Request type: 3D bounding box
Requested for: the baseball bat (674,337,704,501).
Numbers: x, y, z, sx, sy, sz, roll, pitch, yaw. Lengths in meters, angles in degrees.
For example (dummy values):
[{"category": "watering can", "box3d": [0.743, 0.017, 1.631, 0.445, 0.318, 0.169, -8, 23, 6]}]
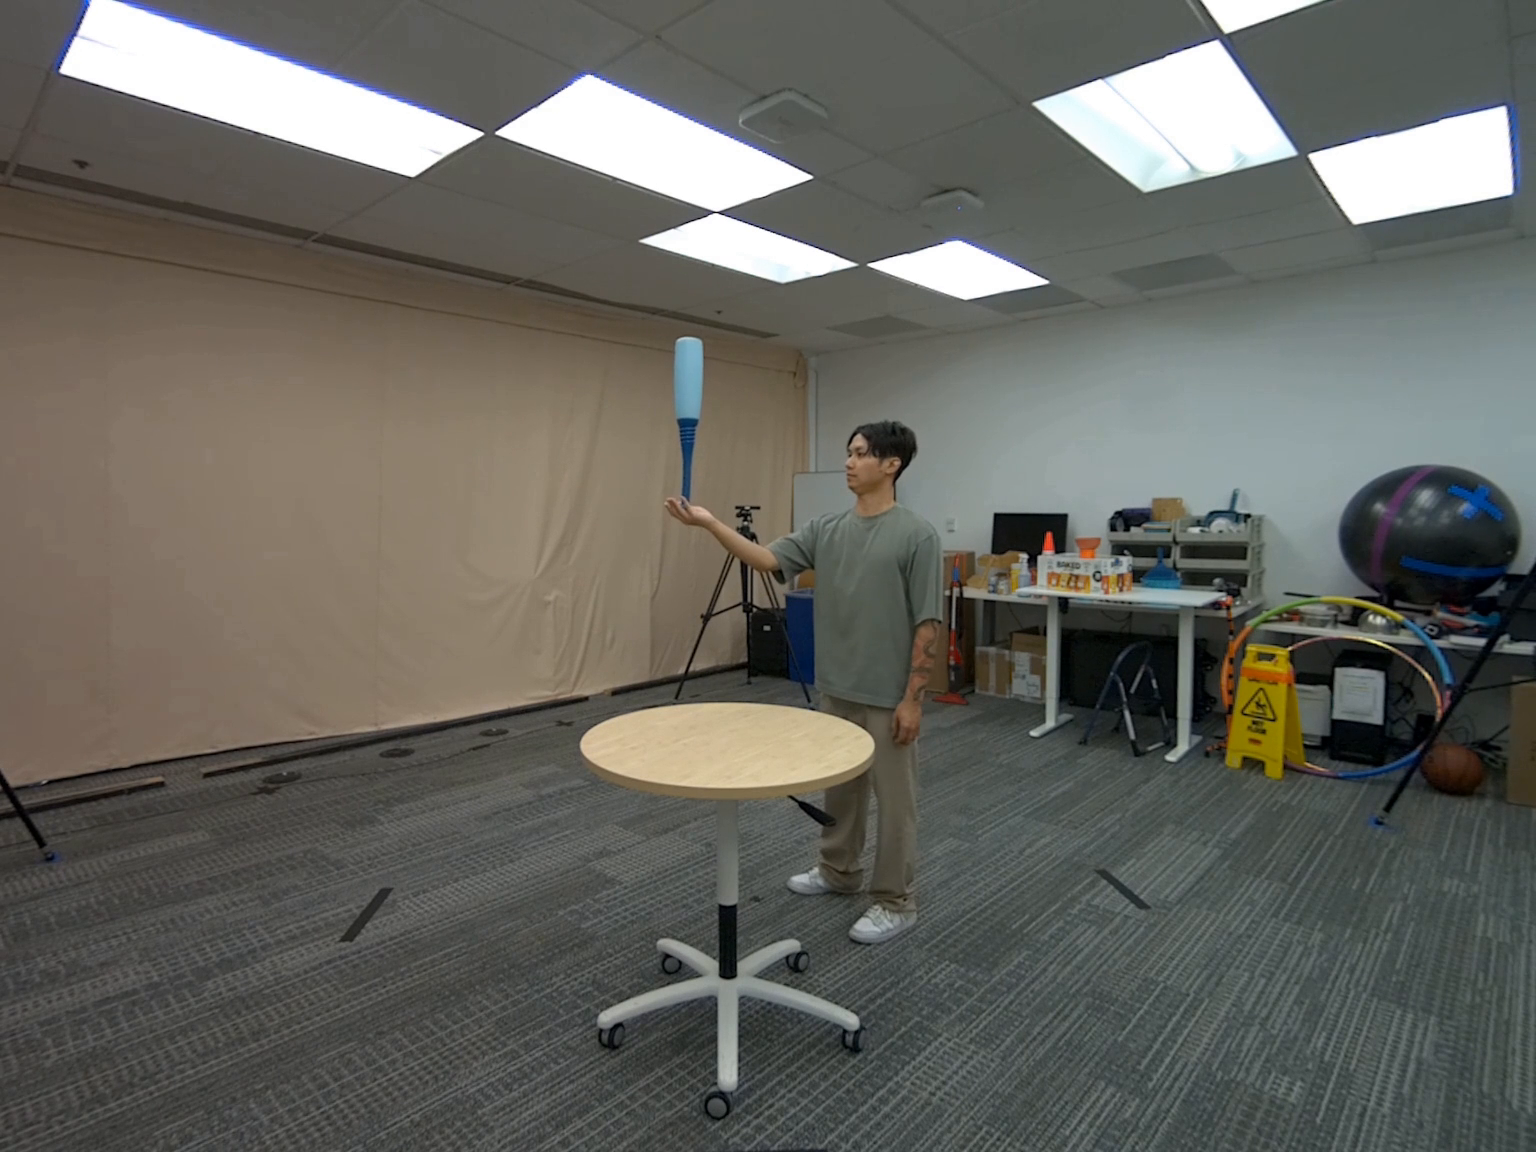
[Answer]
[{"category": "baseball bat", "box3d": [-0.239, -0.466, 2.611, 0.089, 0.542, 0.089, 0, 1, -2]}]
